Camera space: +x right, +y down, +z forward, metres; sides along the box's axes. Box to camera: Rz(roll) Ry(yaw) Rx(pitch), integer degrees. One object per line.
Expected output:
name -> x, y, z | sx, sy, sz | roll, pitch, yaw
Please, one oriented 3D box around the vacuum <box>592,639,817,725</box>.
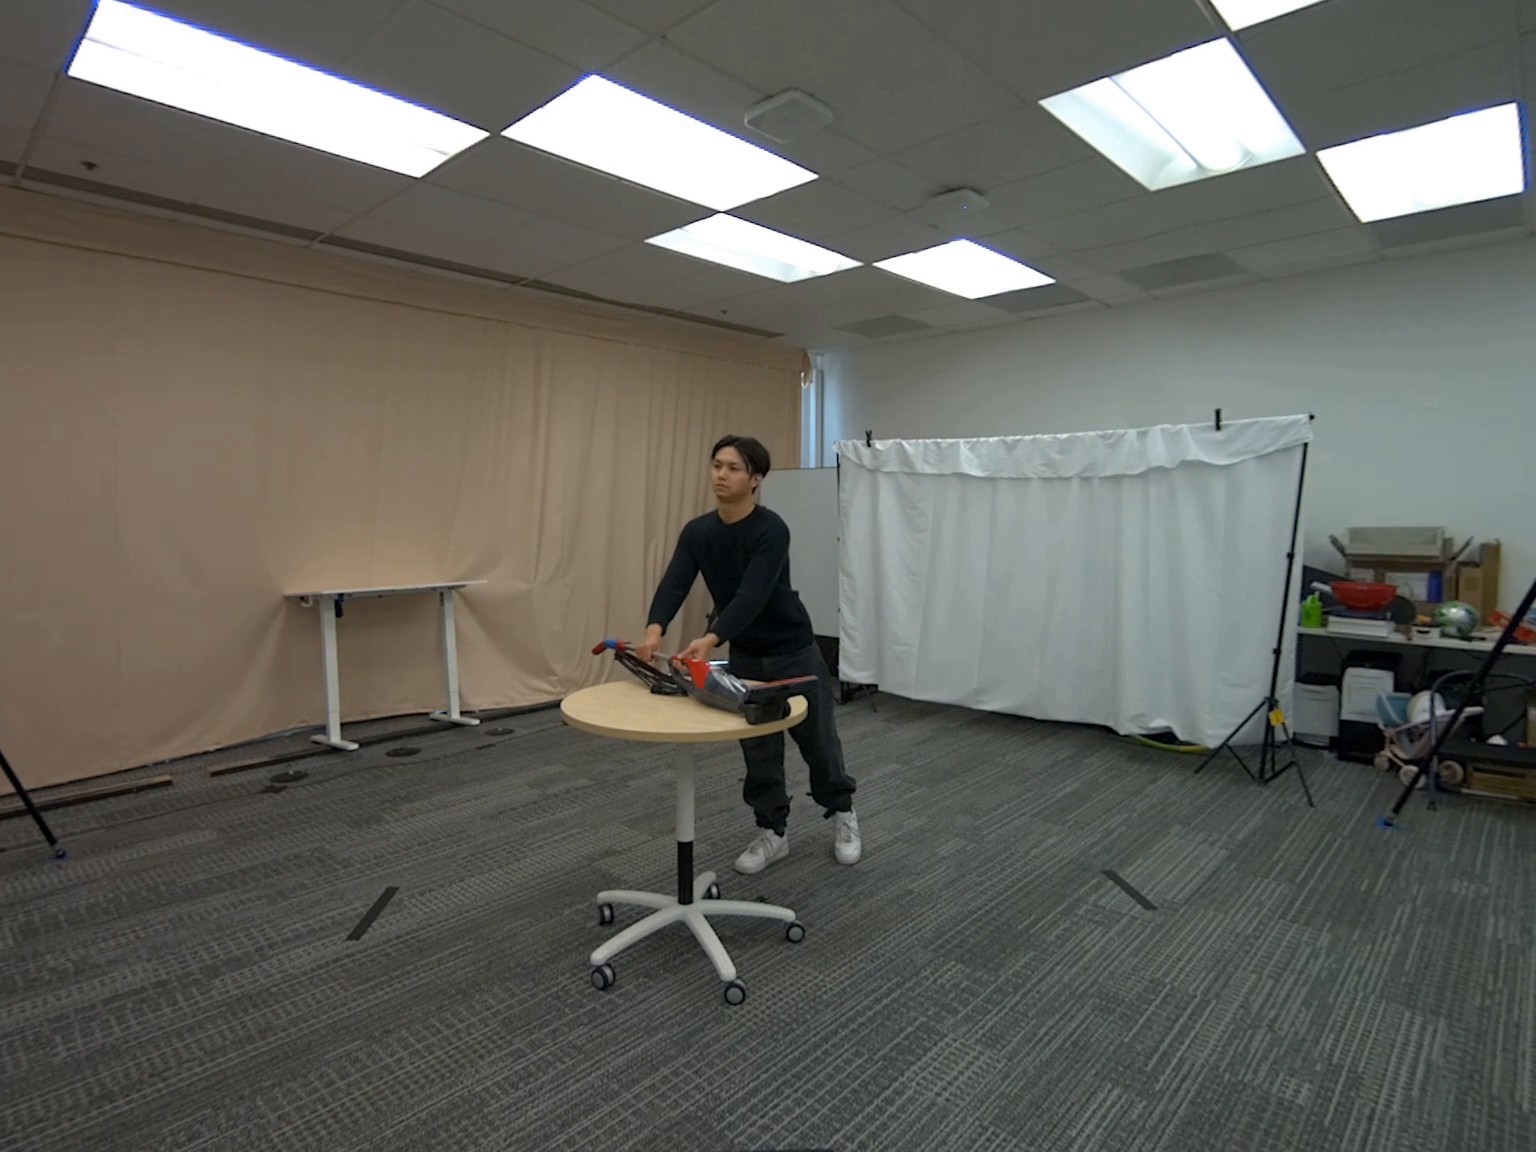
vacuum -> -0.315, 0.330, 2.766 | 0.245, 0.143, 1.084 | -7, 9, -38
